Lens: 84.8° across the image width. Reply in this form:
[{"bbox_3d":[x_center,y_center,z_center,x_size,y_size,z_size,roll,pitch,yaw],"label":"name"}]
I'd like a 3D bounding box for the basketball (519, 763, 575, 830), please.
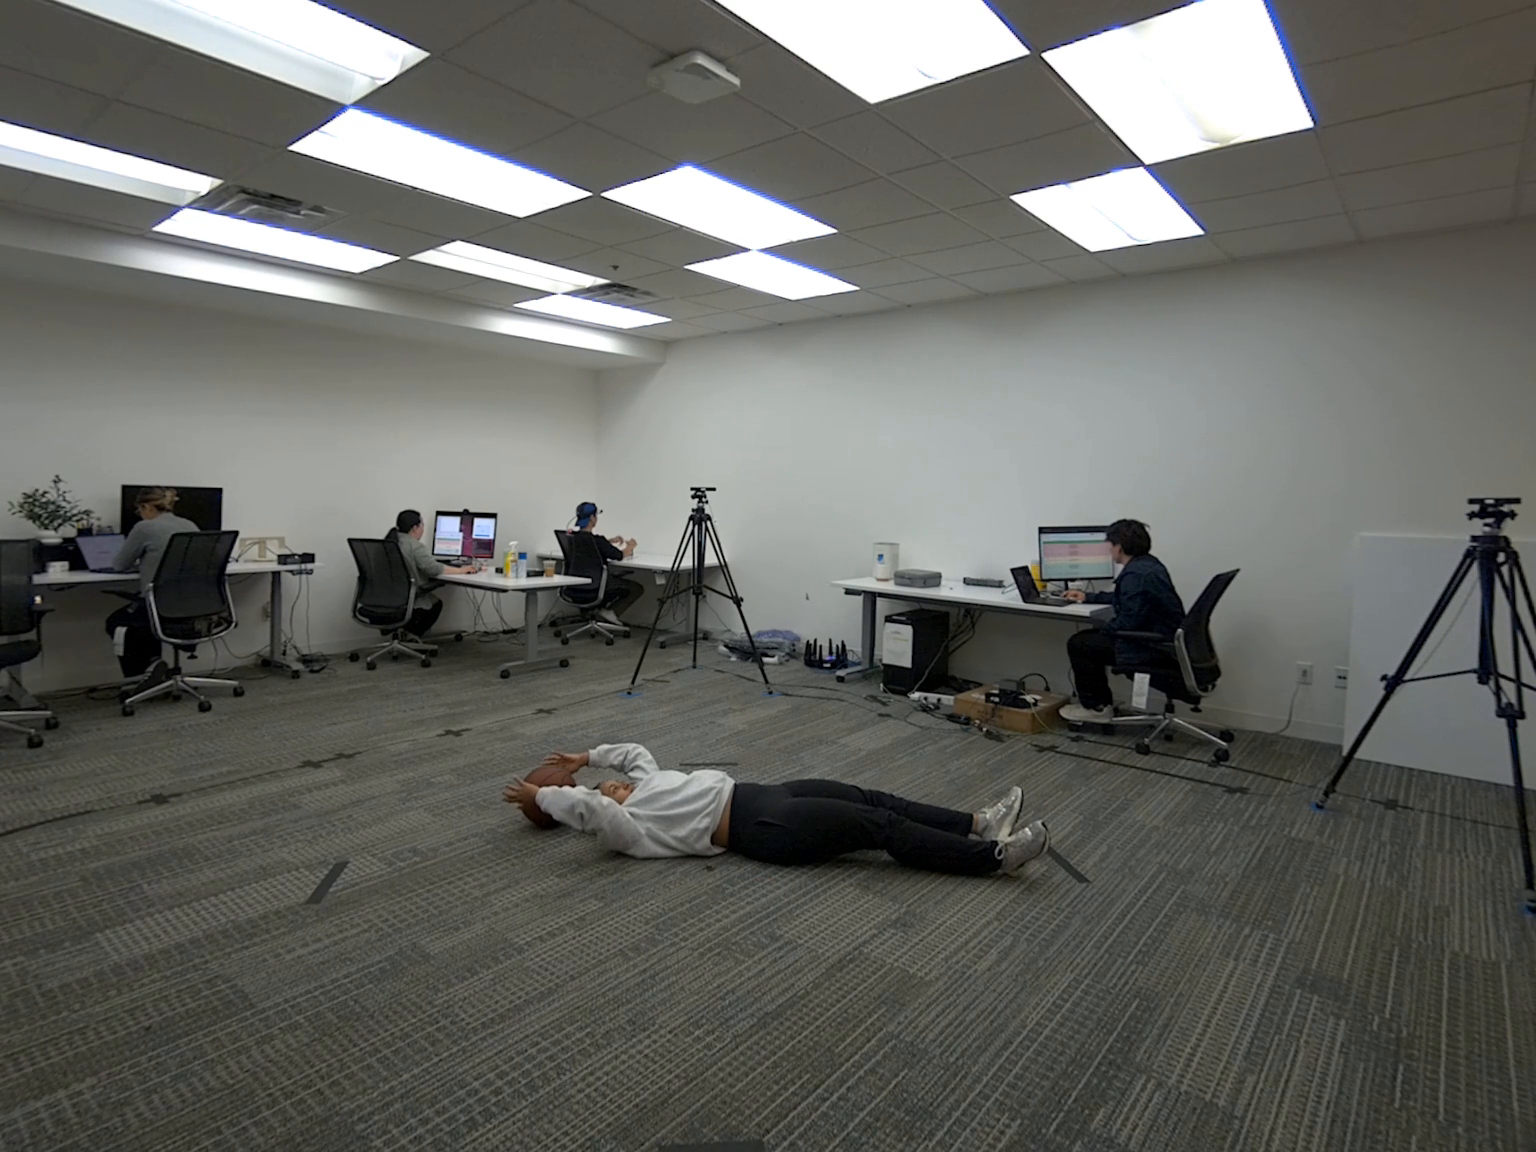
[{"bbox_3d":[-0.919,0.898,3.492,0.236,0.234,0.238,-2,8,-2],"label":"basketball"}]
